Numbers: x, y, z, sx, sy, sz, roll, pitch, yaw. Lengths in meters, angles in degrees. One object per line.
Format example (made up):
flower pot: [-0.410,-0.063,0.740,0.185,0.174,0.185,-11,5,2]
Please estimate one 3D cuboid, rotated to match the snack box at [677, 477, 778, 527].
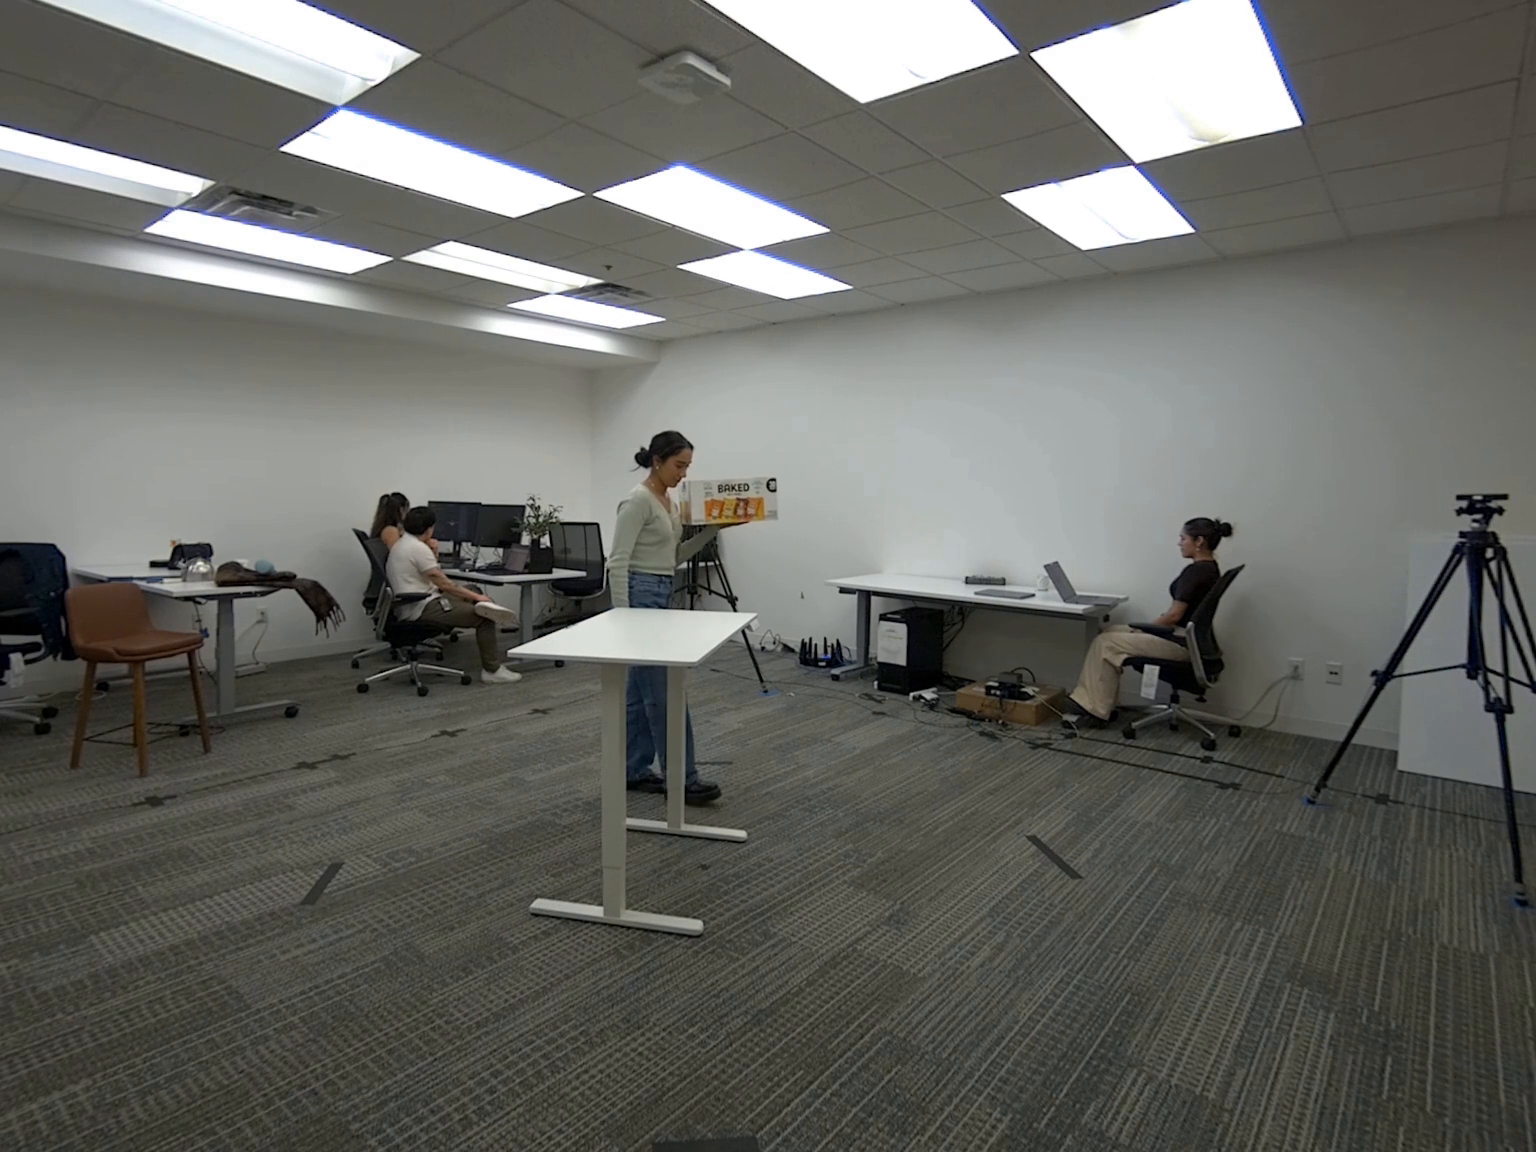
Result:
snack box: [-0.206,-0.363,4.019,0.400,0.205,0.346,-4,5,-13]
